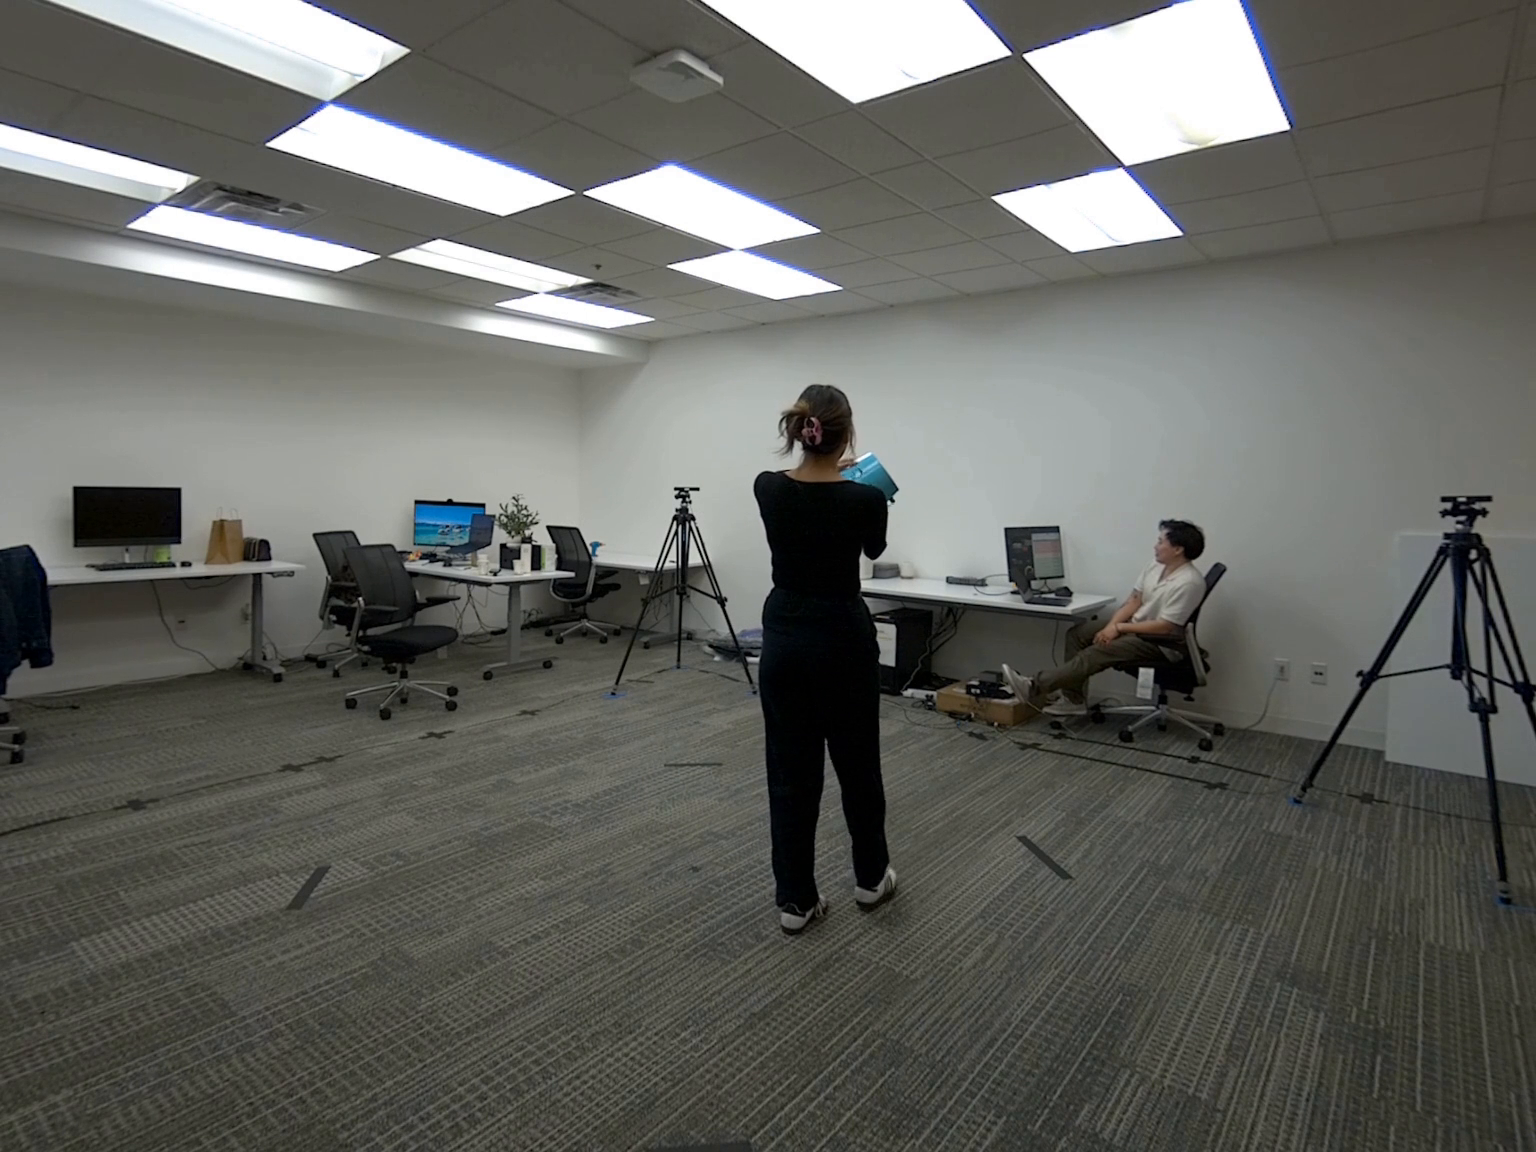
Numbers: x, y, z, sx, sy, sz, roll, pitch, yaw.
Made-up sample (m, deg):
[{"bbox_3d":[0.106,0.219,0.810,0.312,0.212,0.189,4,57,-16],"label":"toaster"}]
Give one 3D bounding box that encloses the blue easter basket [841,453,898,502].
[{"bbox_3d":[0.368,-0.350,3.192,0.156,0.244,0.243,-36,0,6],"label":"blue easter basket"}]
